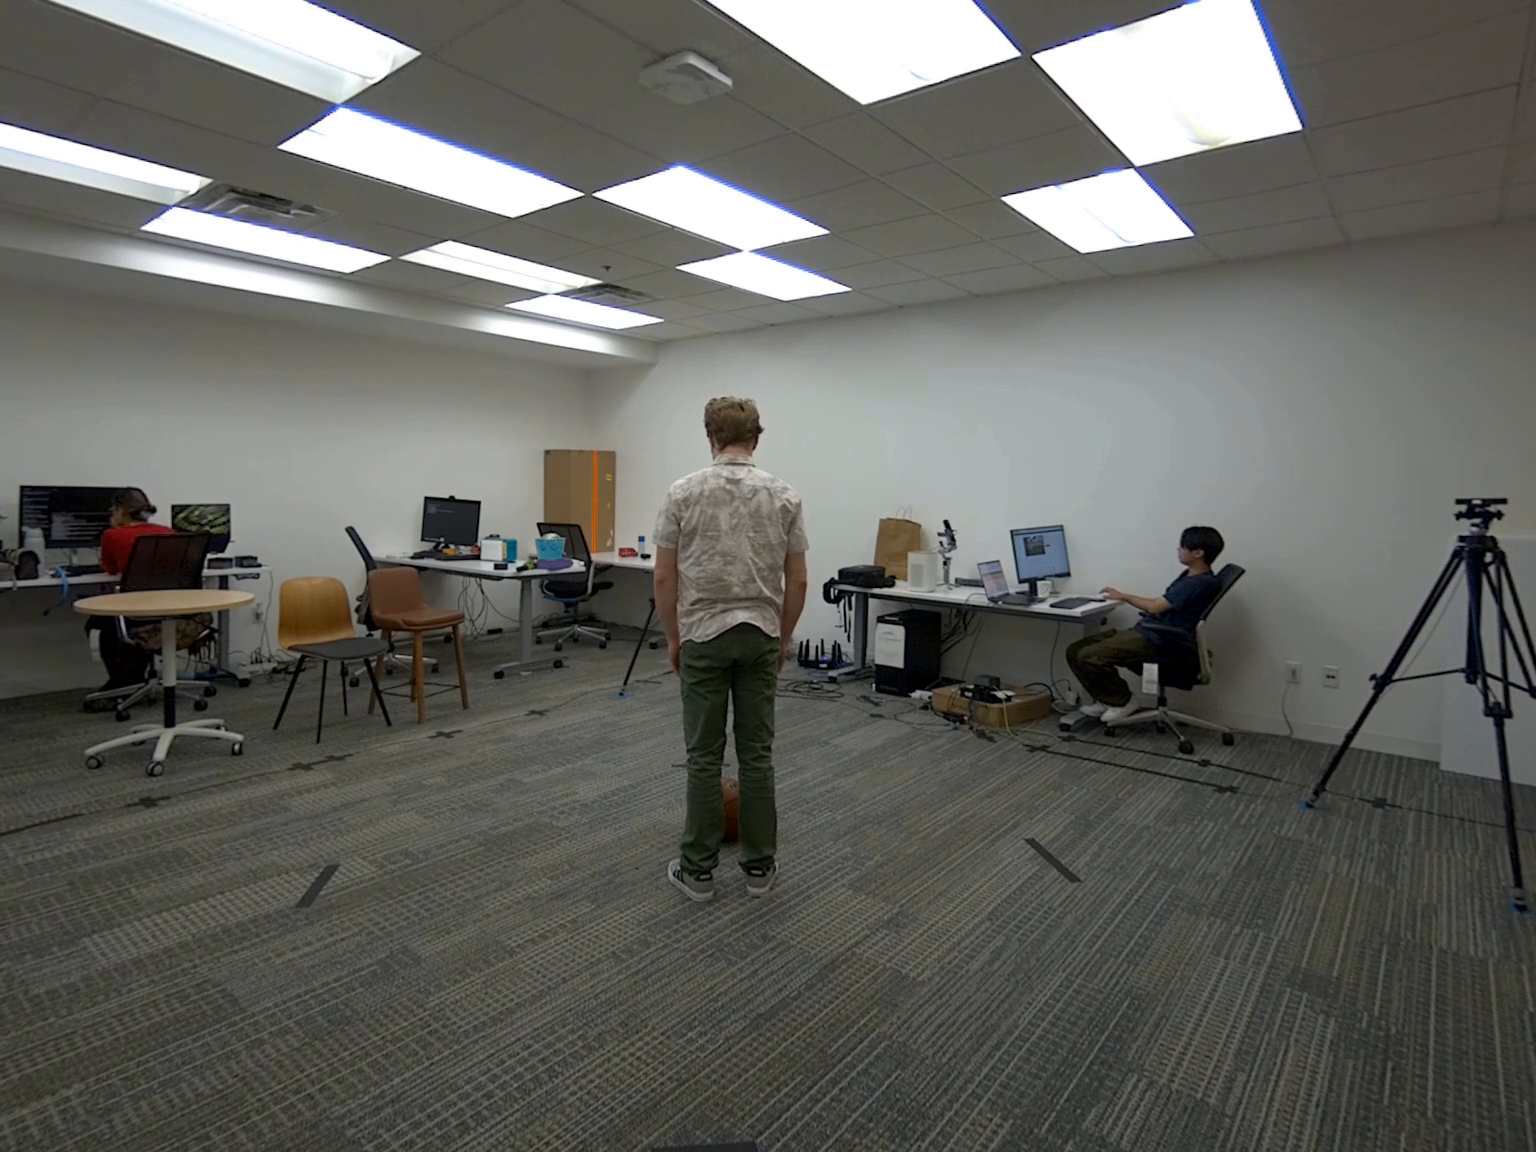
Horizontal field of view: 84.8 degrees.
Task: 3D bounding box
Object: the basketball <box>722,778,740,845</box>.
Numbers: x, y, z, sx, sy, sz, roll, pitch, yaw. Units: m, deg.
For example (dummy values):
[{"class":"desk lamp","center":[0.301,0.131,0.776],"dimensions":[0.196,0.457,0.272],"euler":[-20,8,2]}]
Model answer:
[{"class":"basketball","center":[-0.176,0.918,3.383],"dimensions":[0.235,0.235,0.237],"euler":[1,4,-2]}]
